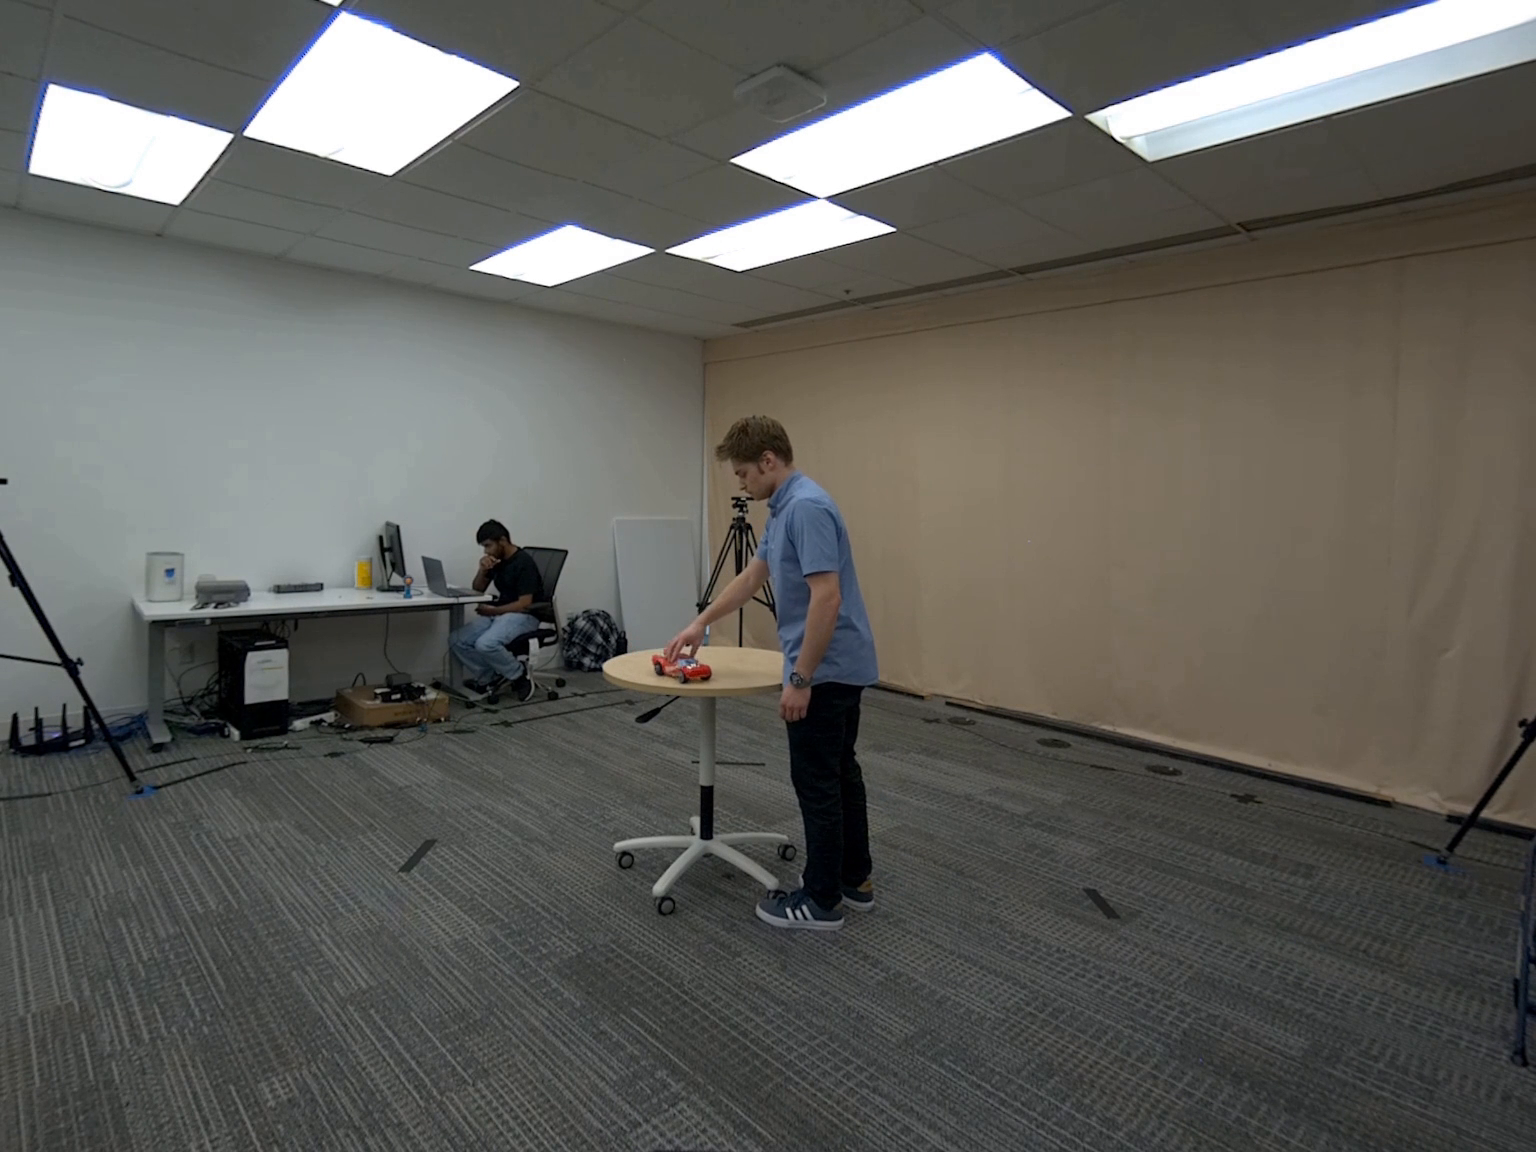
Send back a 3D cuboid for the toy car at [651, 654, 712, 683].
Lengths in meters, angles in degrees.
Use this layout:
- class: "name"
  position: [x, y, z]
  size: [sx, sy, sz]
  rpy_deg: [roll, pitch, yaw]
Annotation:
- class: "toy car"
  position: [-0.305, 0.312, 2.867]
  size: [0.127, 0.082, 0.262]
  rpy_deg: [-2, 16, -36]
